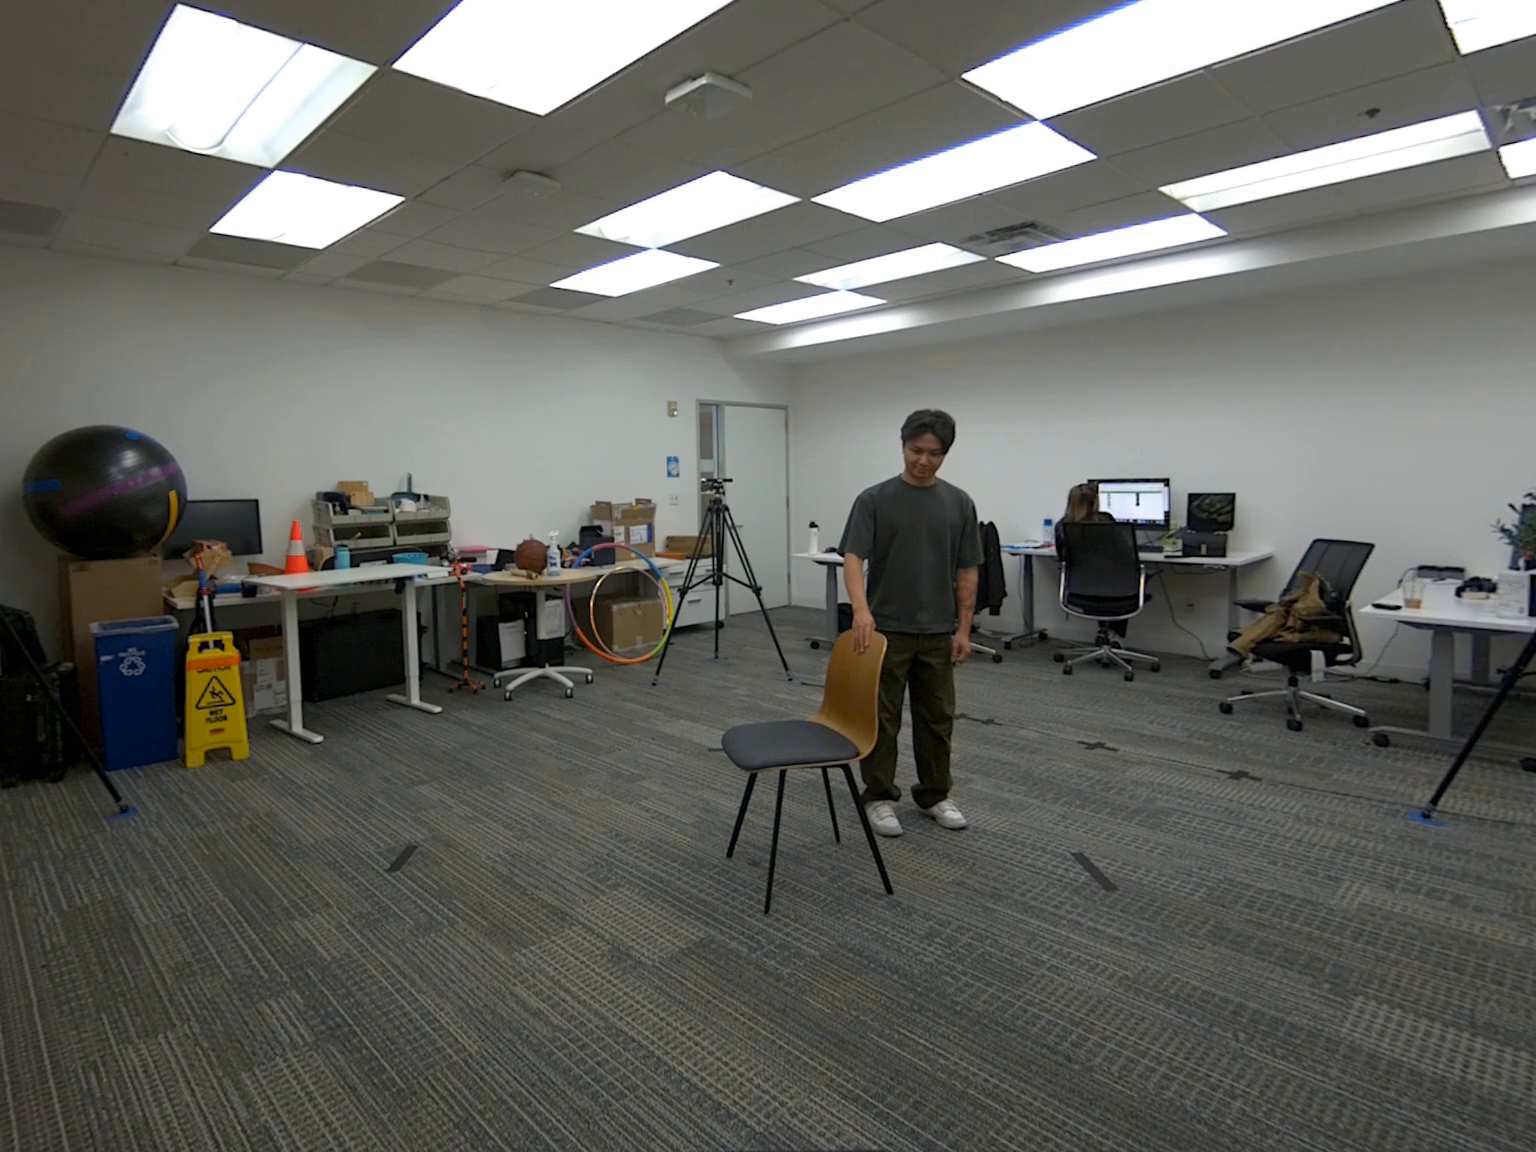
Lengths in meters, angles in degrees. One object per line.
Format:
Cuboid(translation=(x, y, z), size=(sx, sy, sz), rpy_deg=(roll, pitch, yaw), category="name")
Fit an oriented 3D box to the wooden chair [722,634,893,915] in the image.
Cuboid(translation=(0.122, 0.630, 2.975), size=(0.514, 0.875, 0.488), rpy_deg=(2, 4, -18), category="wooden chair")
